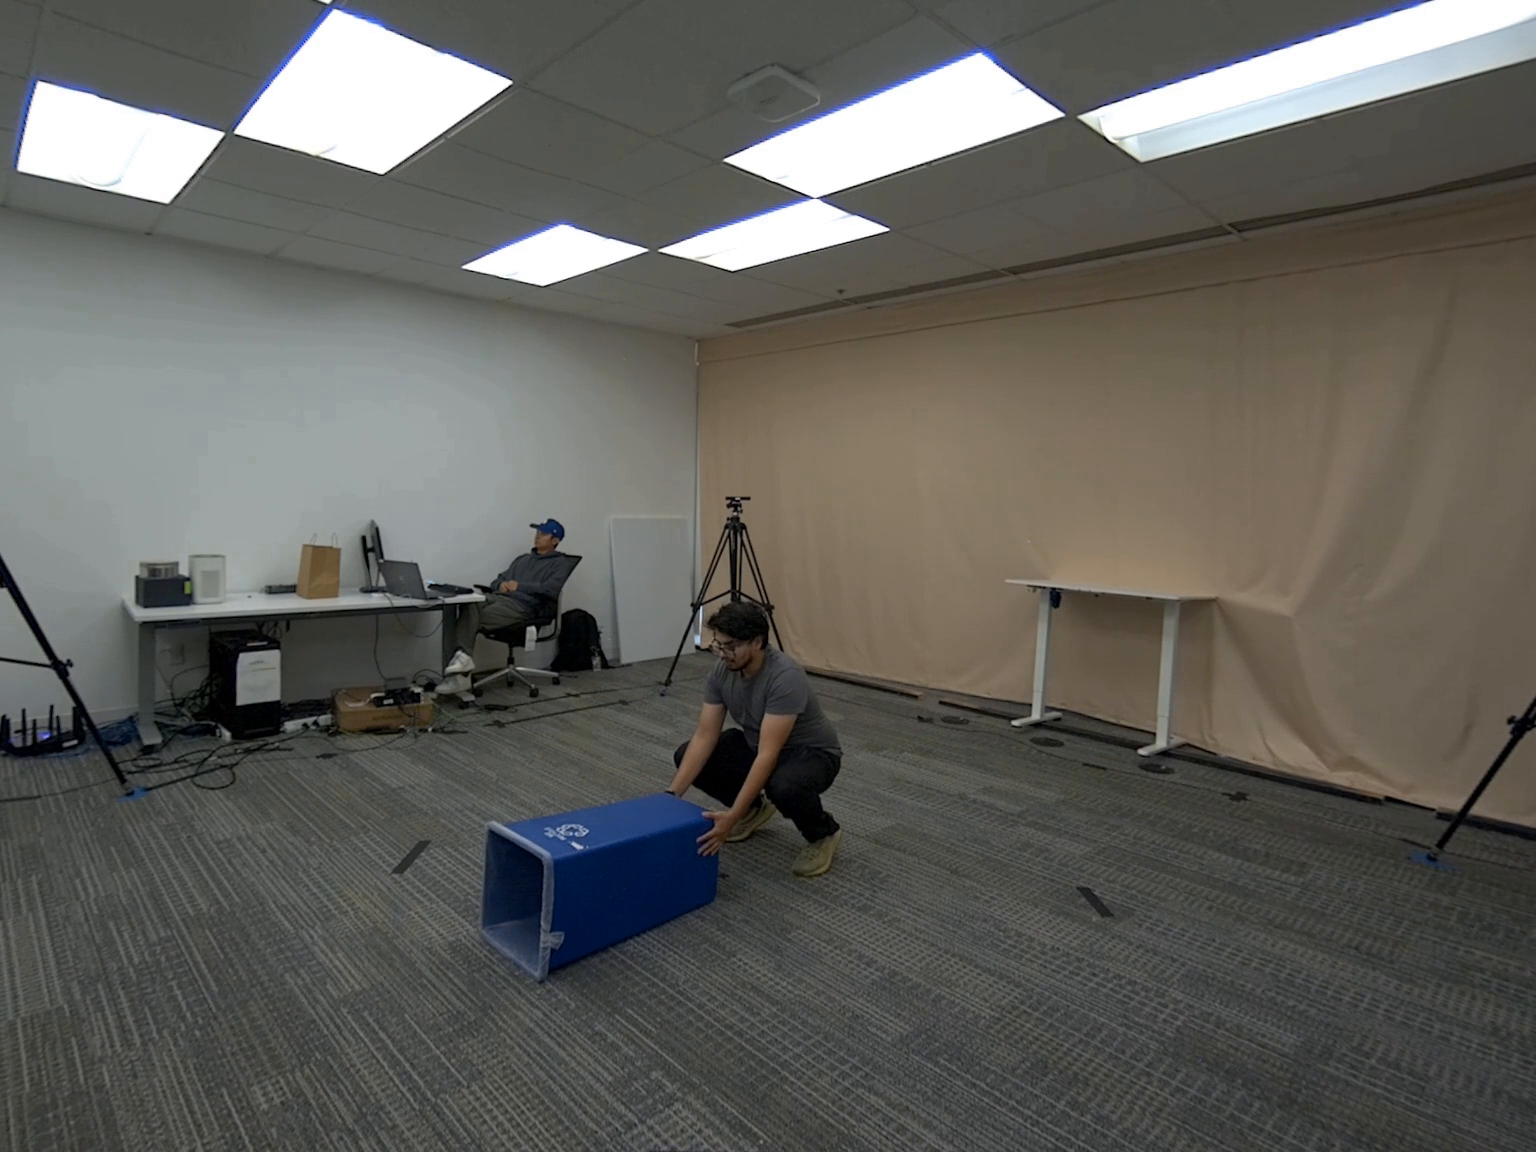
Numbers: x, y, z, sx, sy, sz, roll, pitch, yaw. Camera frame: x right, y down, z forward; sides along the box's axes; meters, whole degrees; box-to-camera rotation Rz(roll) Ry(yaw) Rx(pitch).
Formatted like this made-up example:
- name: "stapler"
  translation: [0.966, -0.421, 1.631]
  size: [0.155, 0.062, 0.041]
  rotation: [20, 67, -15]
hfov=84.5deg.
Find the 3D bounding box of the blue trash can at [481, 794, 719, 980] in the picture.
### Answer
- name: "blue trash can"
  translation: [-0.533, 0.965, 2.758]
  size: [0.383, 0.378, 0.696]
  rotation: [5, 3, 43]
